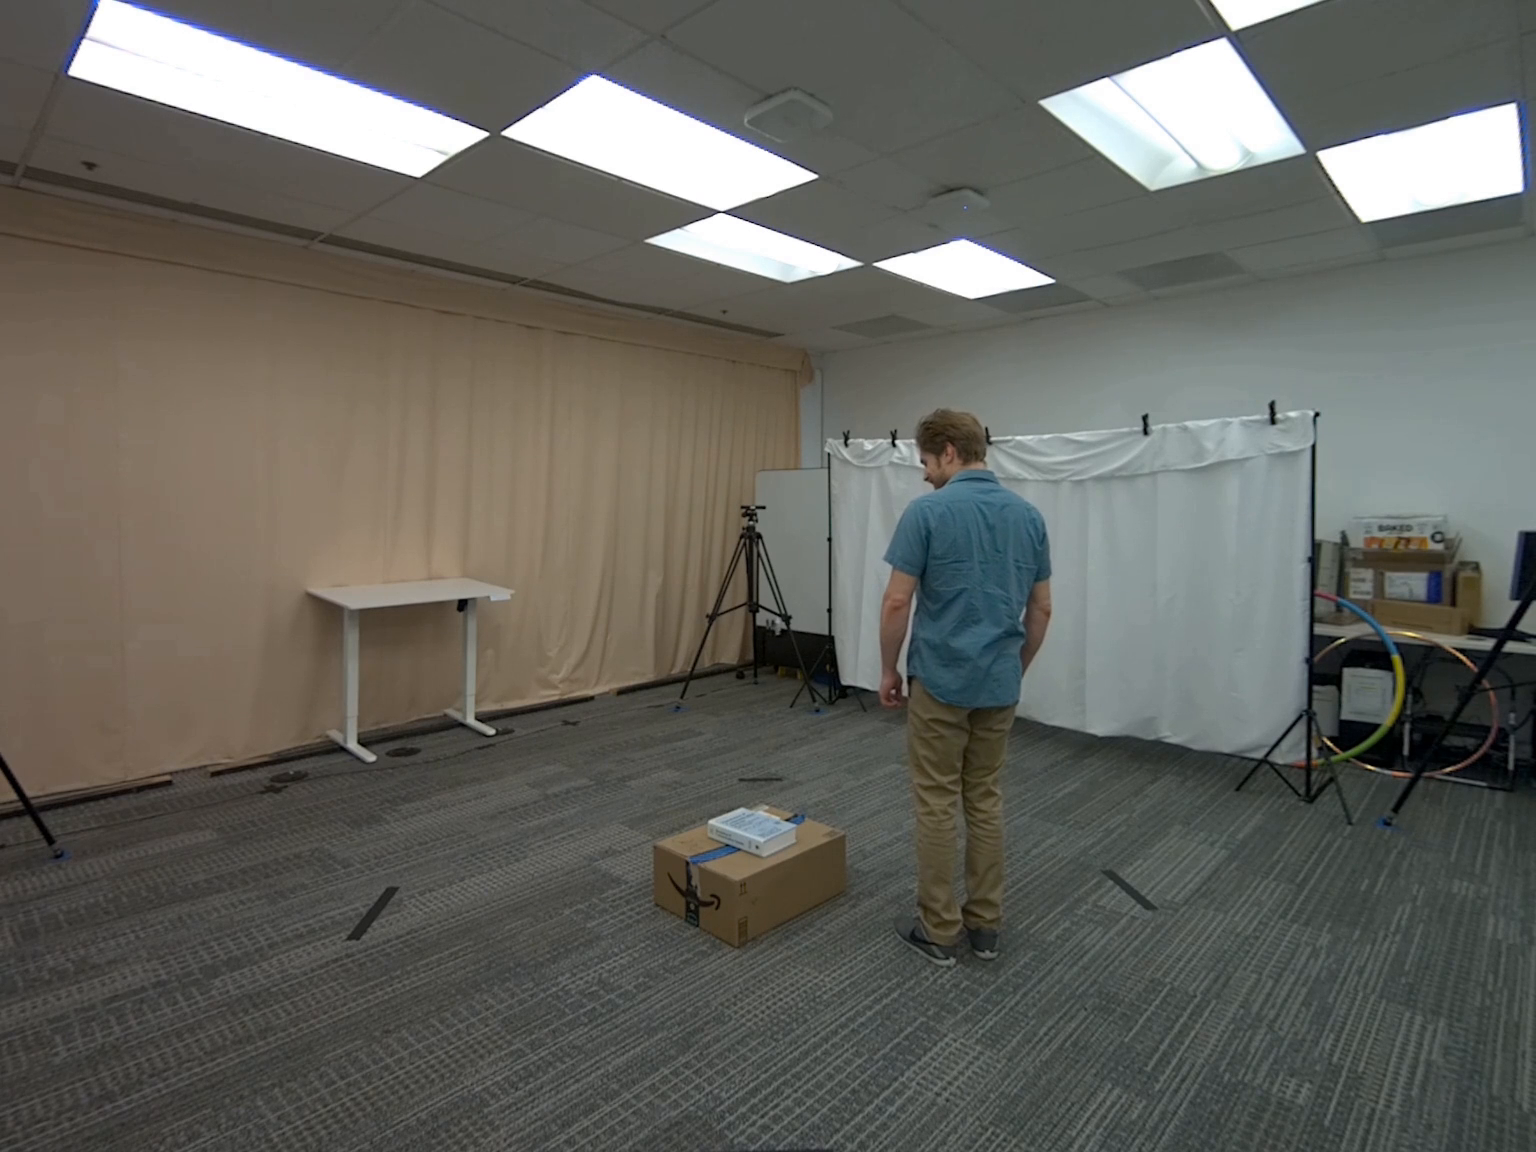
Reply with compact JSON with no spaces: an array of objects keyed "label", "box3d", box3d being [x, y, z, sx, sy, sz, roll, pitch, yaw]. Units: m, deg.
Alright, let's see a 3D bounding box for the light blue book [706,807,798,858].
[{"label":"light blue book","box3d":[-0.055,0.901,2.984,0.270,0.059,0.185,4,6,42]}]
